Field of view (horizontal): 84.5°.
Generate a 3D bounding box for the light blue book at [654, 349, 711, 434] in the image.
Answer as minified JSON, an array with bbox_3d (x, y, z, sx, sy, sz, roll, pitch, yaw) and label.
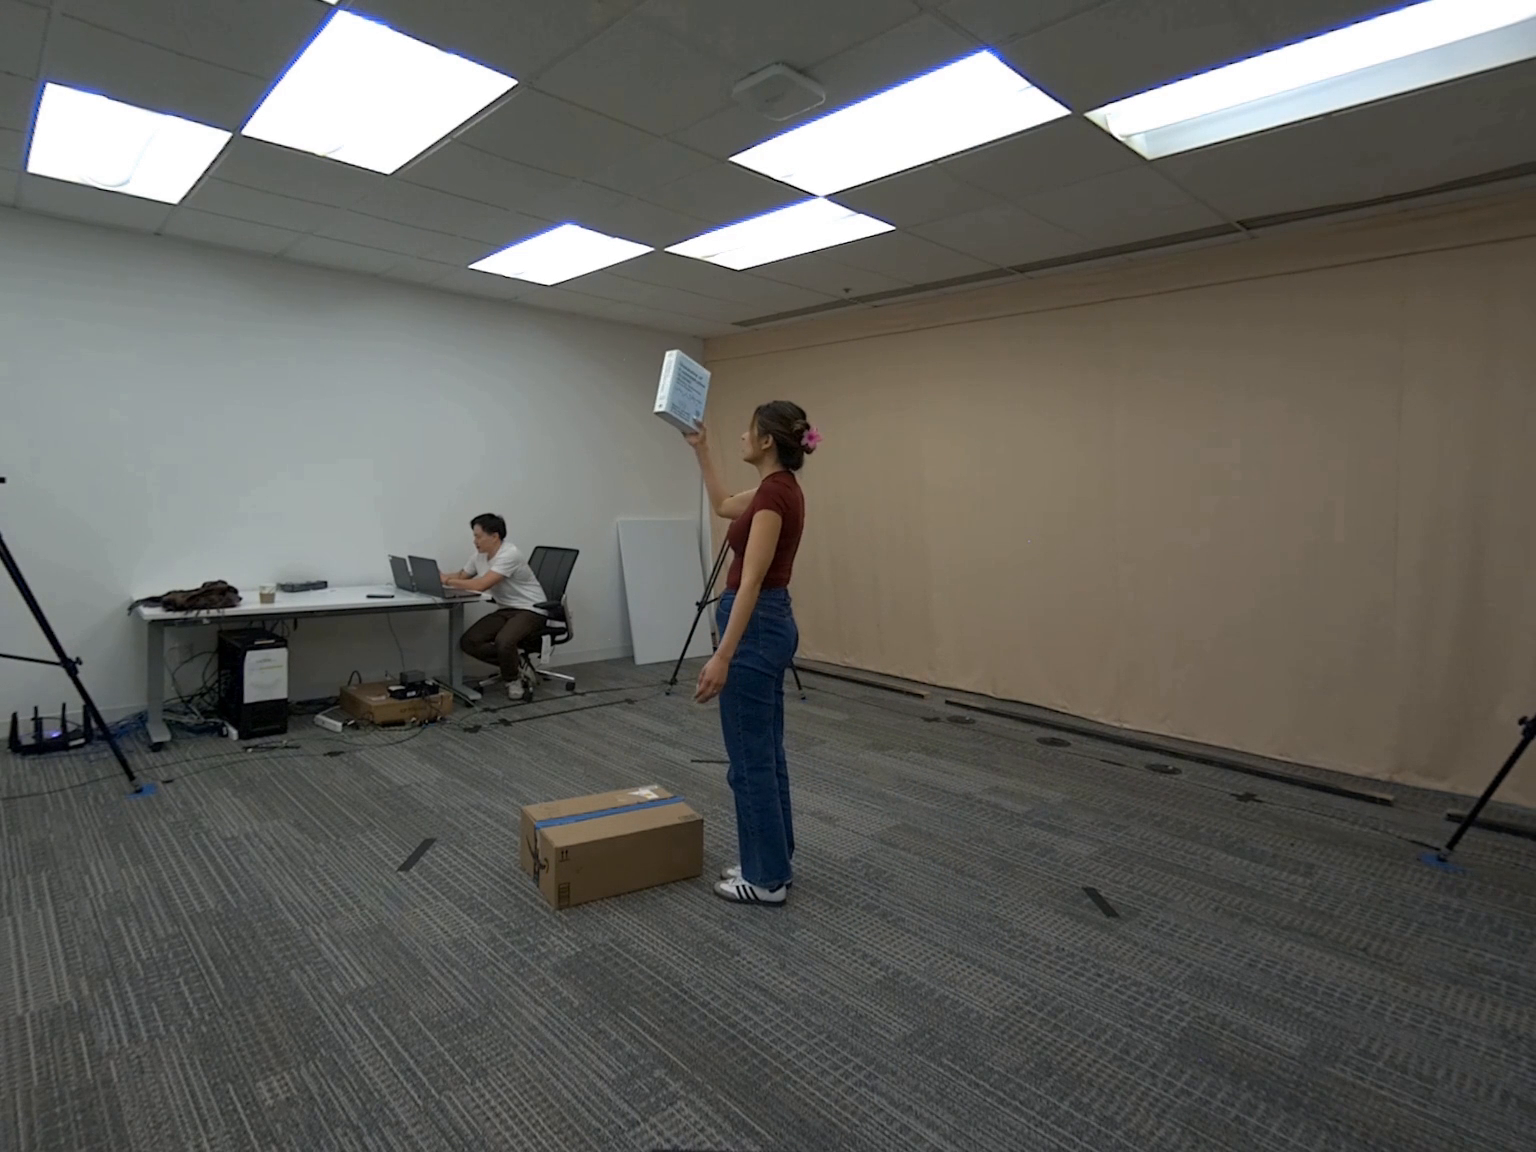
[{"bbox_3d":[-0.333,-0.693,3.177,0.060,0.264,0.185,-7,-24,40],"label":"light blue book"}]
